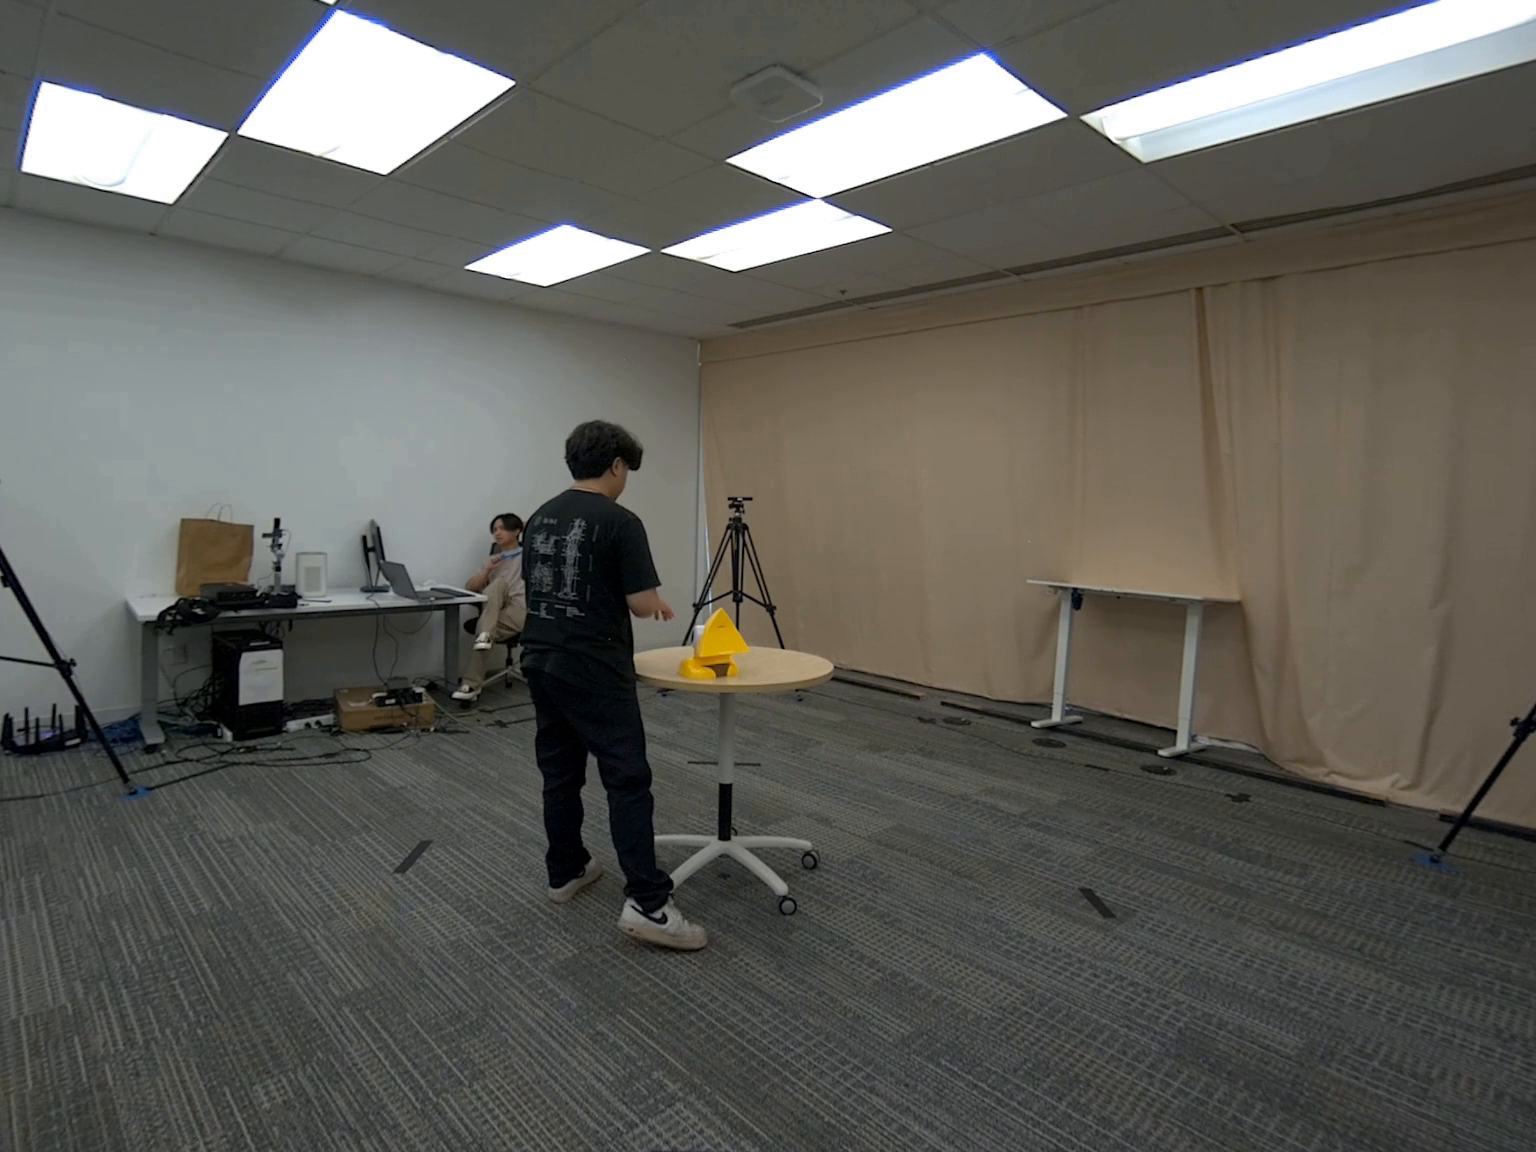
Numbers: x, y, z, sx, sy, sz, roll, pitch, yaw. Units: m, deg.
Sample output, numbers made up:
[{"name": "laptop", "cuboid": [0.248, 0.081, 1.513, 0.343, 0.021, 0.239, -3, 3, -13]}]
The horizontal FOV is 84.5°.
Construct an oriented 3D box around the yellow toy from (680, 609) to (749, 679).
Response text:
[{"name": "yellow toy", "cuboid": [-0.205, 0.218, 2.857, 0.200, 0.230, 0.198, -2, 4, -37]}]
